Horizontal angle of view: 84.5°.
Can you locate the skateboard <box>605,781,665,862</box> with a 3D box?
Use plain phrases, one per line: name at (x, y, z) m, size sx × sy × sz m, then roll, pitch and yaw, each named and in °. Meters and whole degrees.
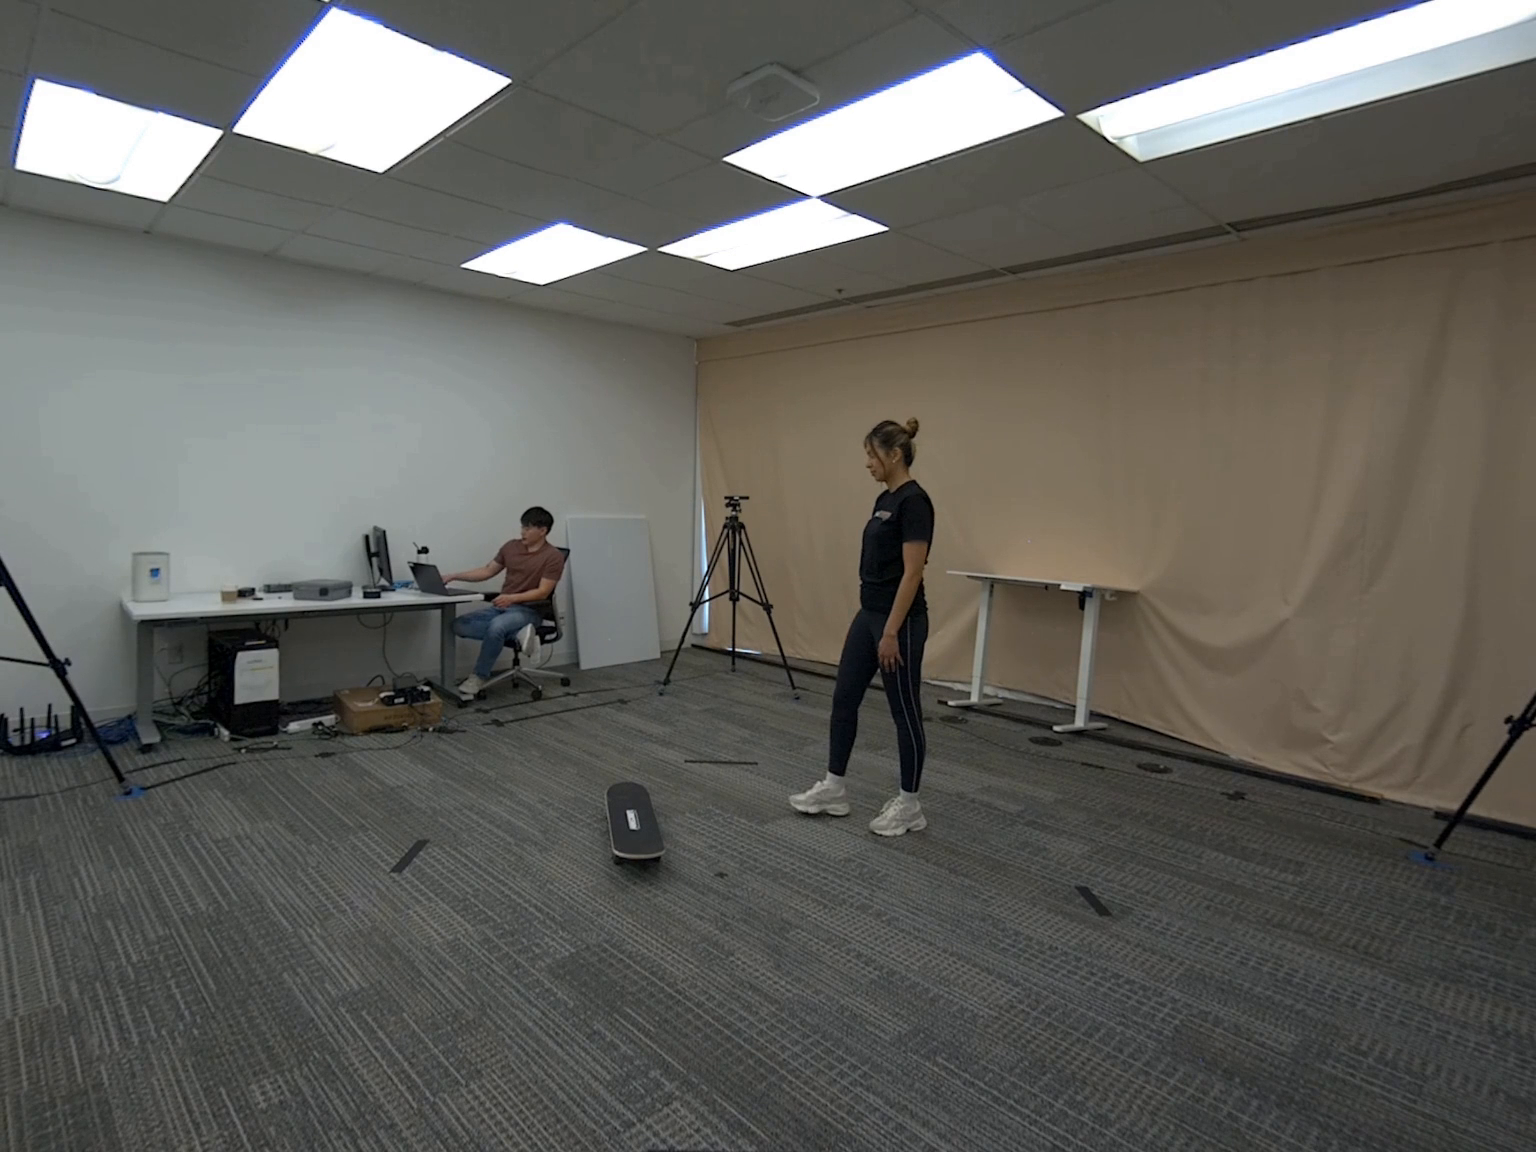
skateboard at (-0.556, 1.013, 3.388) m, size 0.191 × 0.110 × 0.795 m, roll 0°, pitch 6°, yaw -13°
